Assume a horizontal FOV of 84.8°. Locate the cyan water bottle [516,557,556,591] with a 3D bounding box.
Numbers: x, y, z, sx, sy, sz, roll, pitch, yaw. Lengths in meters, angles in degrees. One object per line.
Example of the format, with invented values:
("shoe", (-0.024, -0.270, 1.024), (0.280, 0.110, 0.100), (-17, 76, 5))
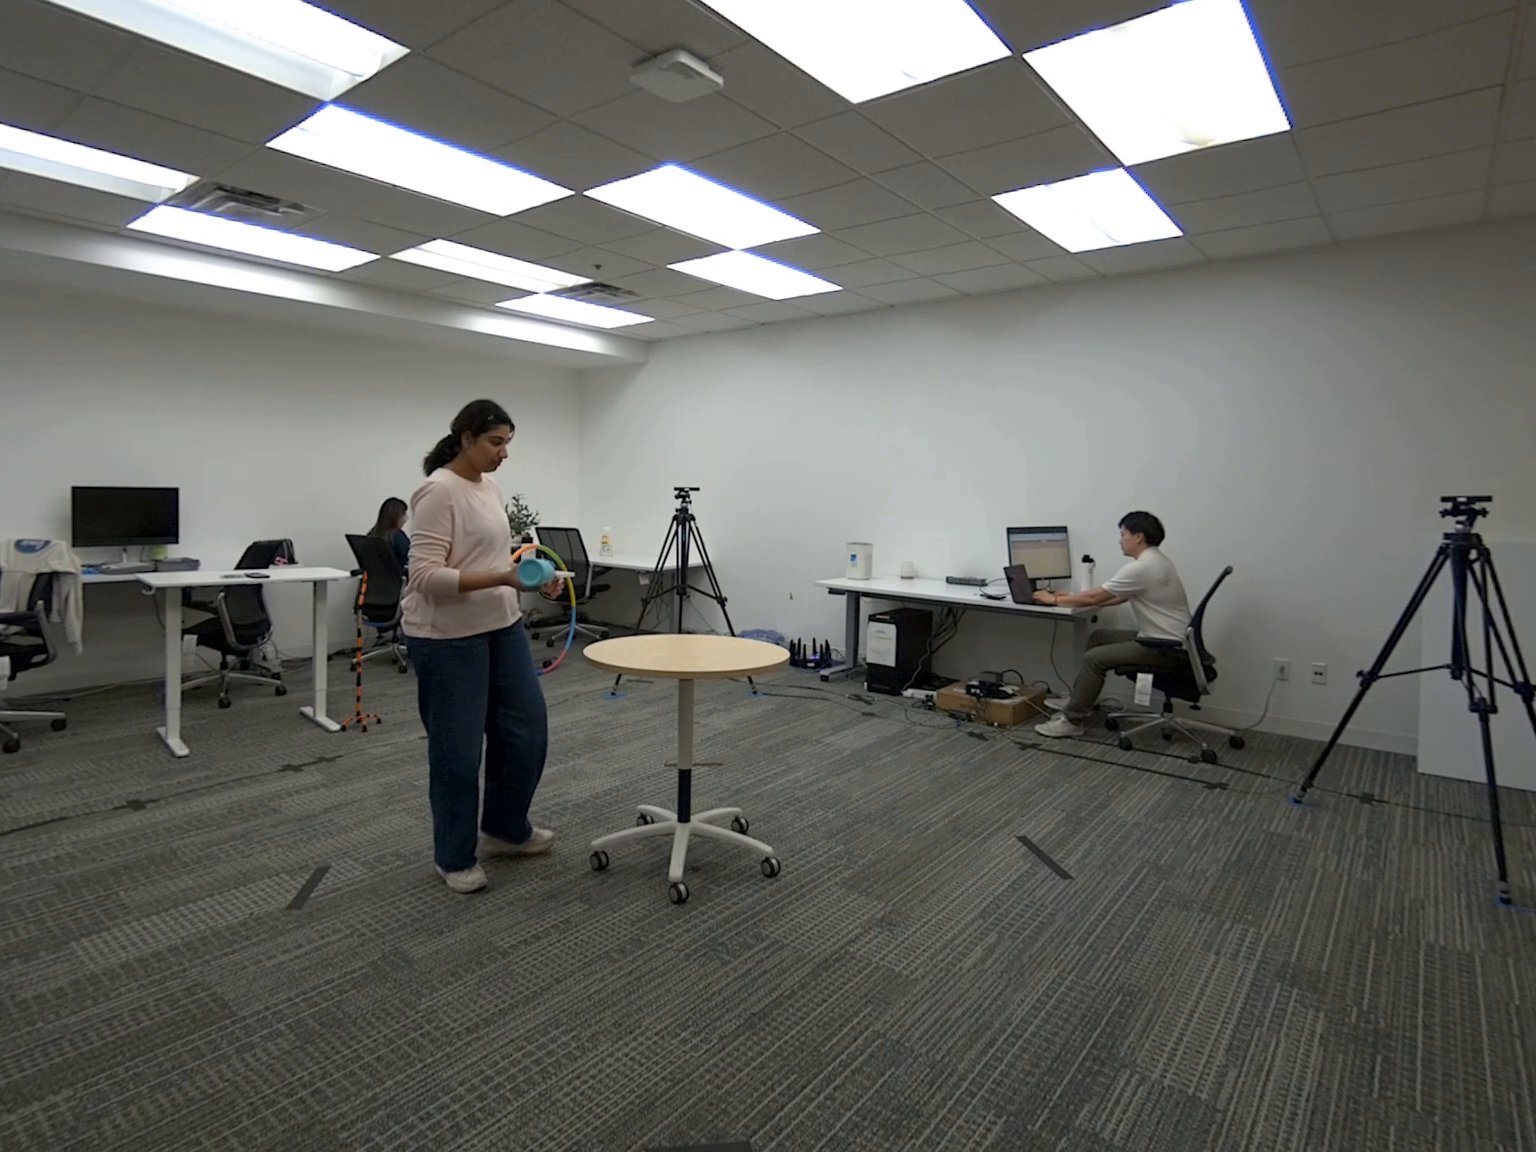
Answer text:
("cyan water bottle", (-0.767, -0.010, 2.796), (0.092, 0.092, 0.284), (1, 0, -4))
